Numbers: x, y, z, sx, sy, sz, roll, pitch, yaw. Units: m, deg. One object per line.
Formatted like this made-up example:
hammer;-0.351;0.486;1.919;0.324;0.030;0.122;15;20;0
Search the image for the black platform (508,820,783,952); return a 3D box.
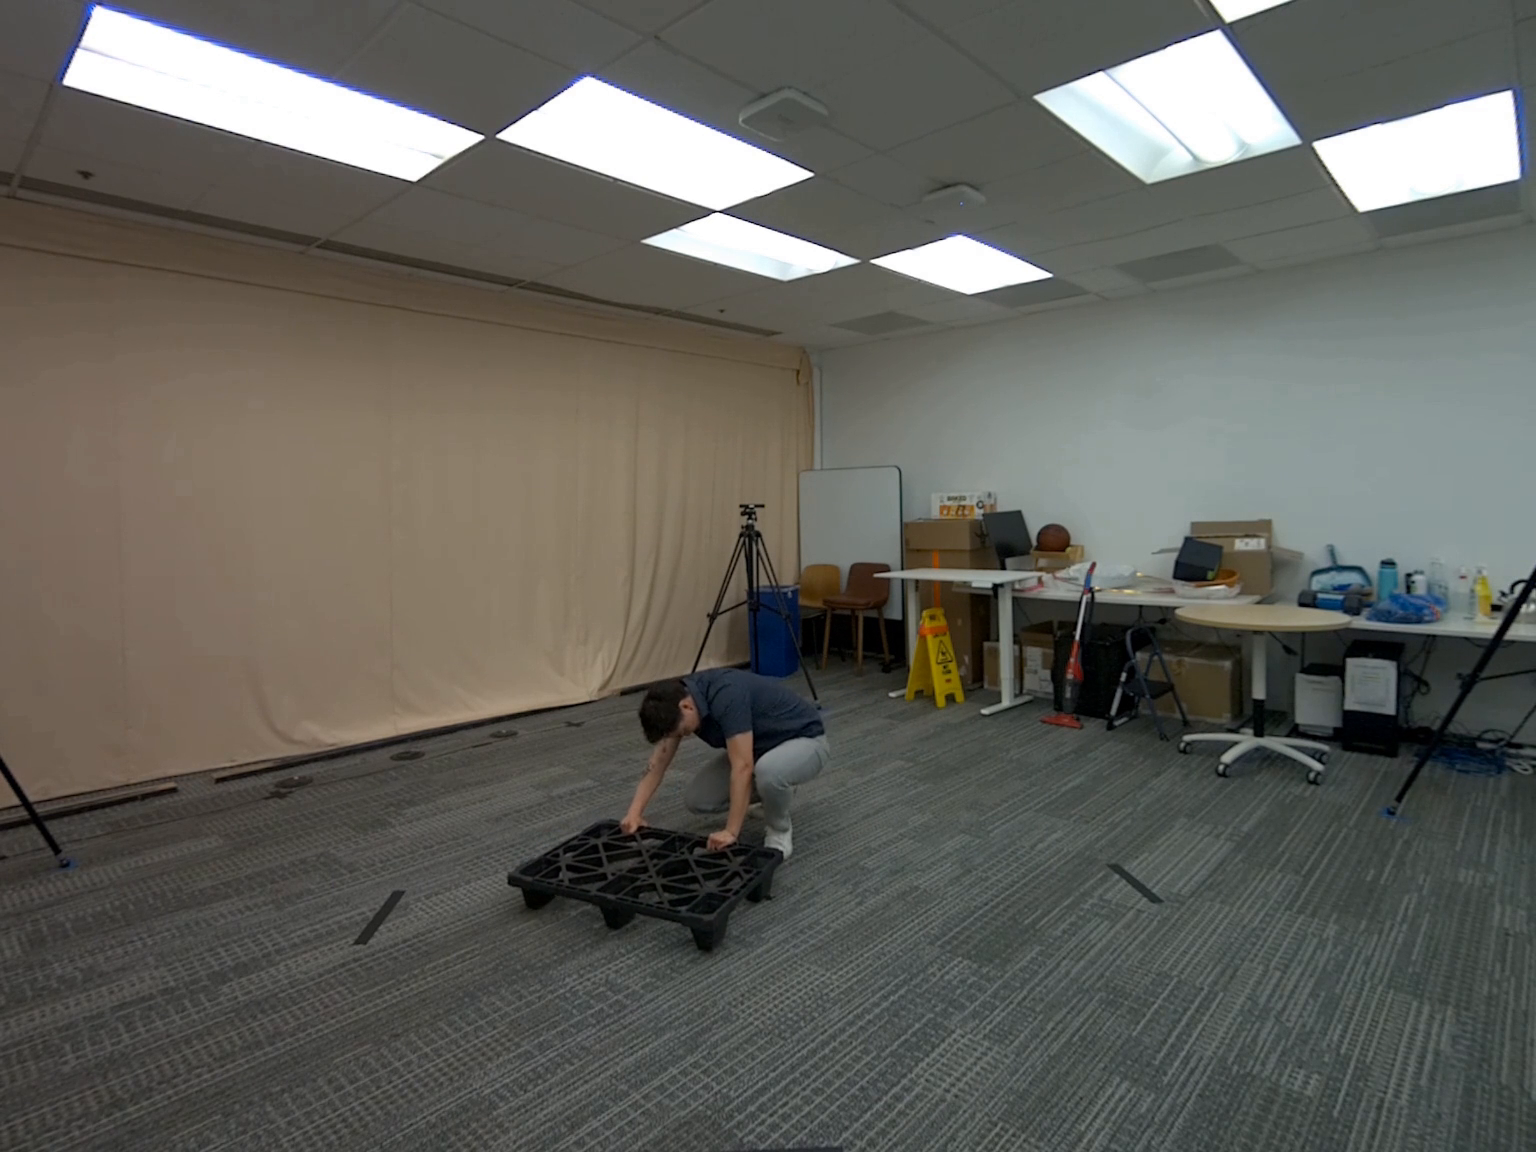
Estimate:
black platform;-0.420;1.078;2.980;0.826;0.143;0.591;1;5;25
